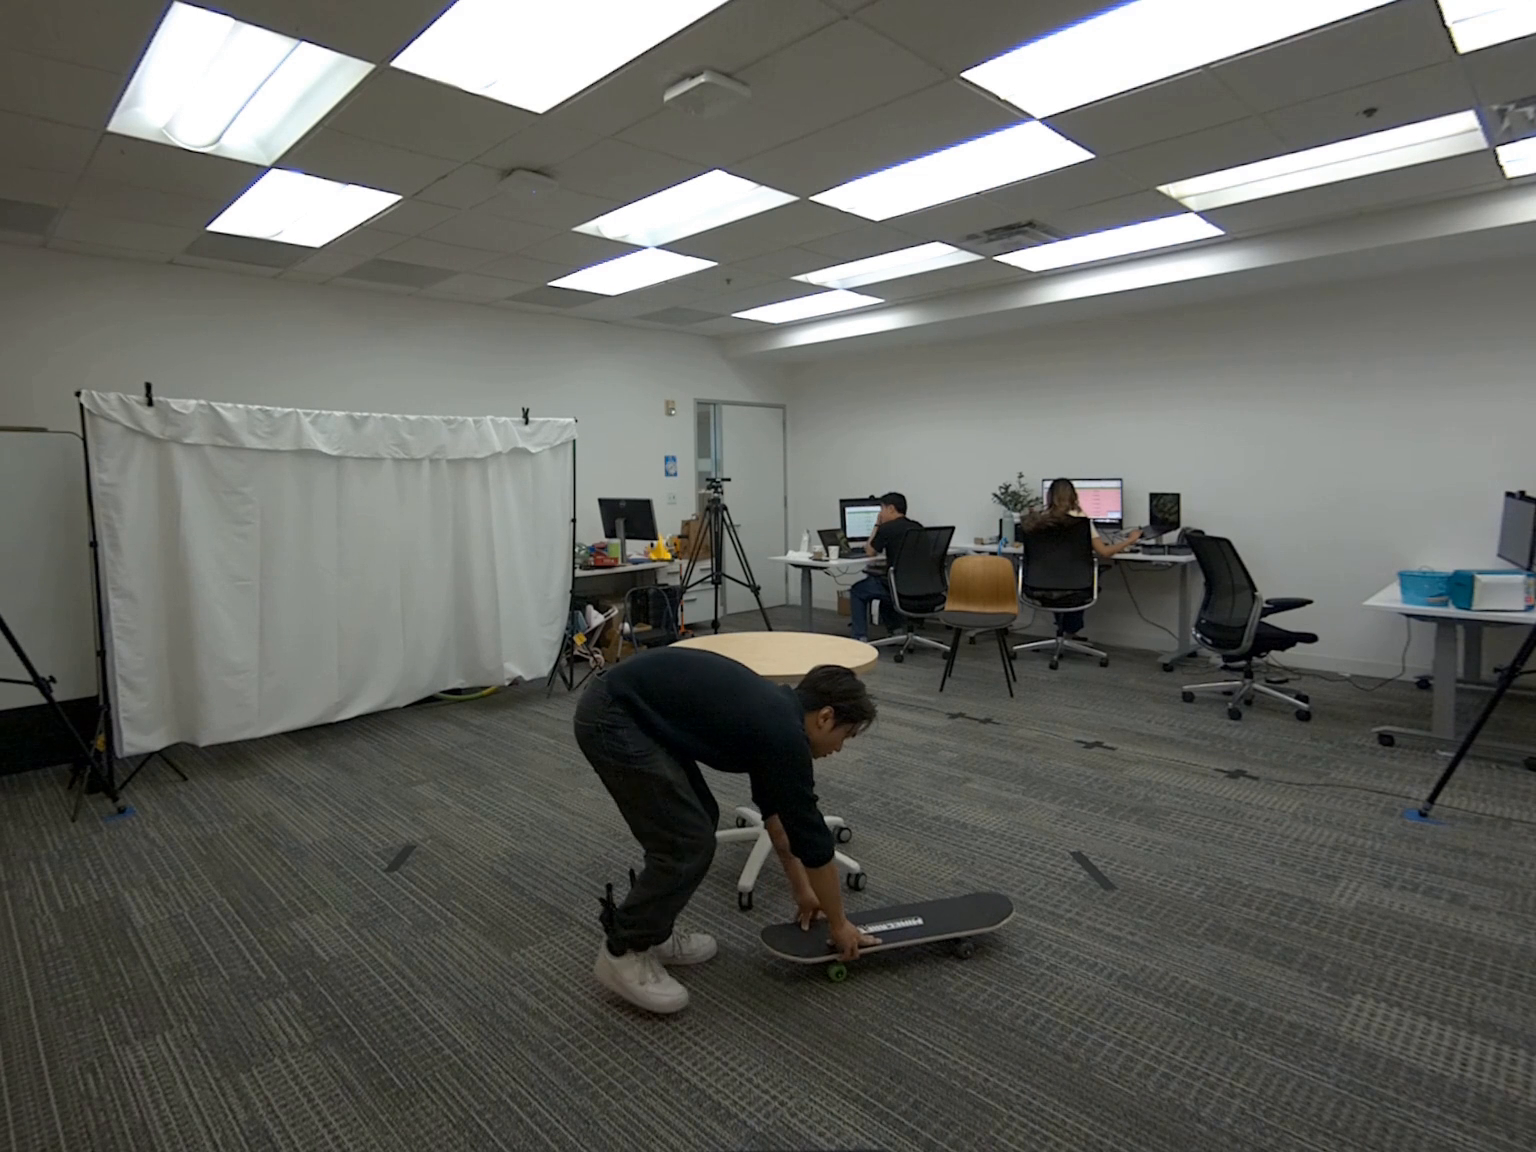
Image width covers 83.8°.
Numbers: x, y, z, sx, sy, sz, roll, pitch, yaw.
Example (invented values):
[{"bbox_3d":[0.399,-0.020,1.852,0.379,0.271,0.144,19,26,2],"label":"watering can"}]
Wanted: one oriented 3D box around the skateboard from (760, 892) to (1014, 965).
[{"bbox_3d":[0.360,1.048,2.498,0.776,0.110,0.196,-3,5,-13],"label":"skateboard"}]
